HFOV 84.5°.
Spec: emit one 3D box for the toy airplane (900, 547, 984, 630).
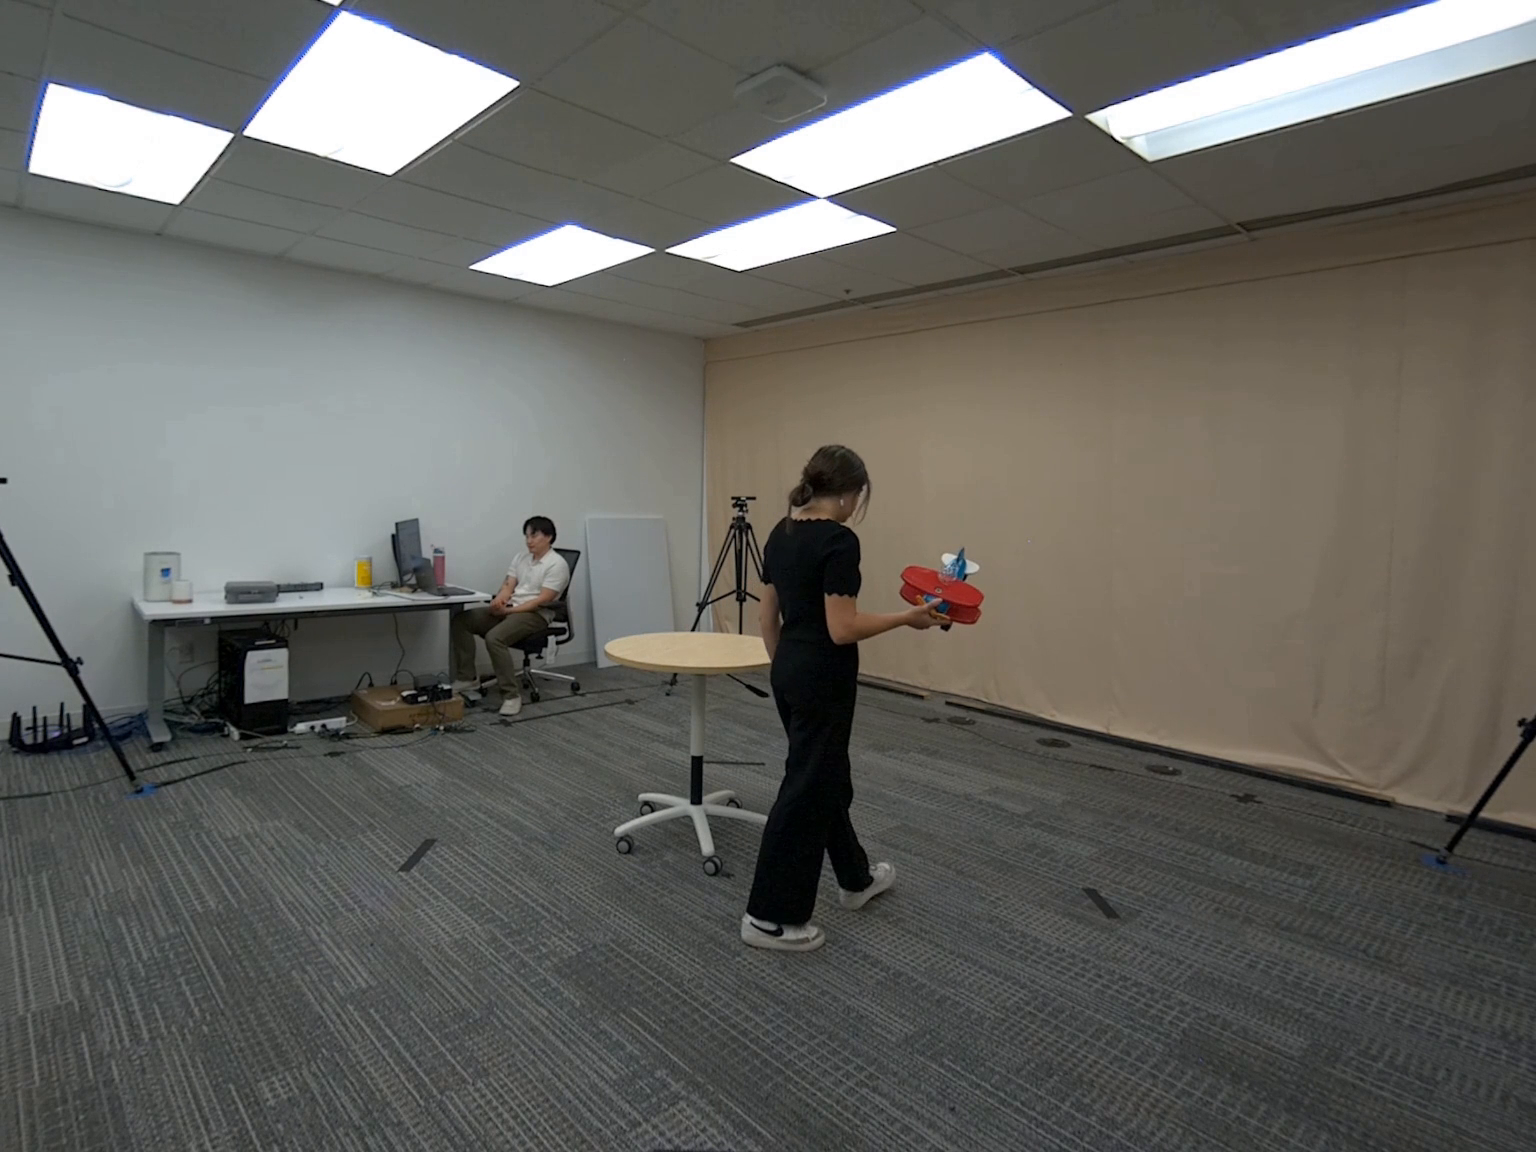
[{"bbox_3d":[0.527,0.030,2.628,0.253,0.264,0.152,-4,-31,12],"label":"toy airplane"}]
